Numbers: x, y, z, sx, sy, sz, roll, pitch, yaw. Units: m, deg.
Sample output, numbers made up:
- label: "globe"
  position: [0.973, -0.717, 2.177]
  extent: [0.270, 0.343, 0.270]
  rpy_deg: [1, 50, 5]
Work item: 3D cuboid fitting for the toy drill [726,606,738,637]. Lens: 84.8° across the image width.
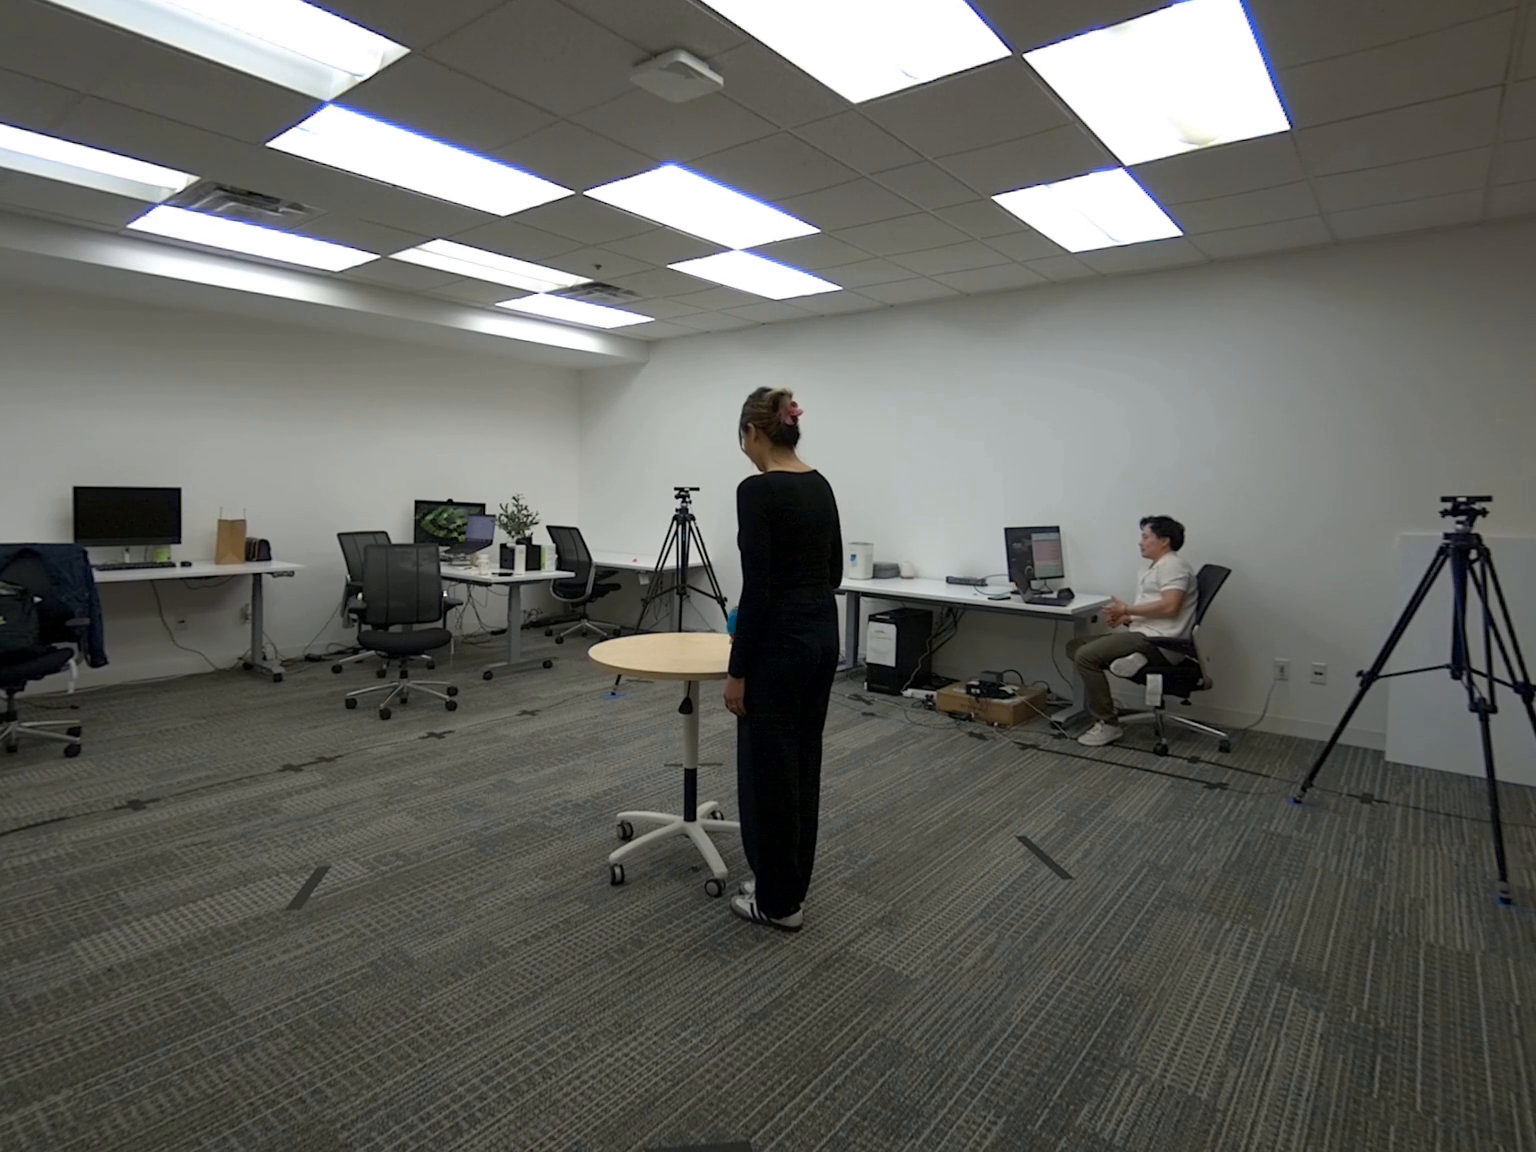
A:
- label: "toy drill"
  position: [-0.074, 0.191, 2.946]
  extent: [0.147, 0.170, 0.060]
  rpy_deg: [2, -4, 7]
